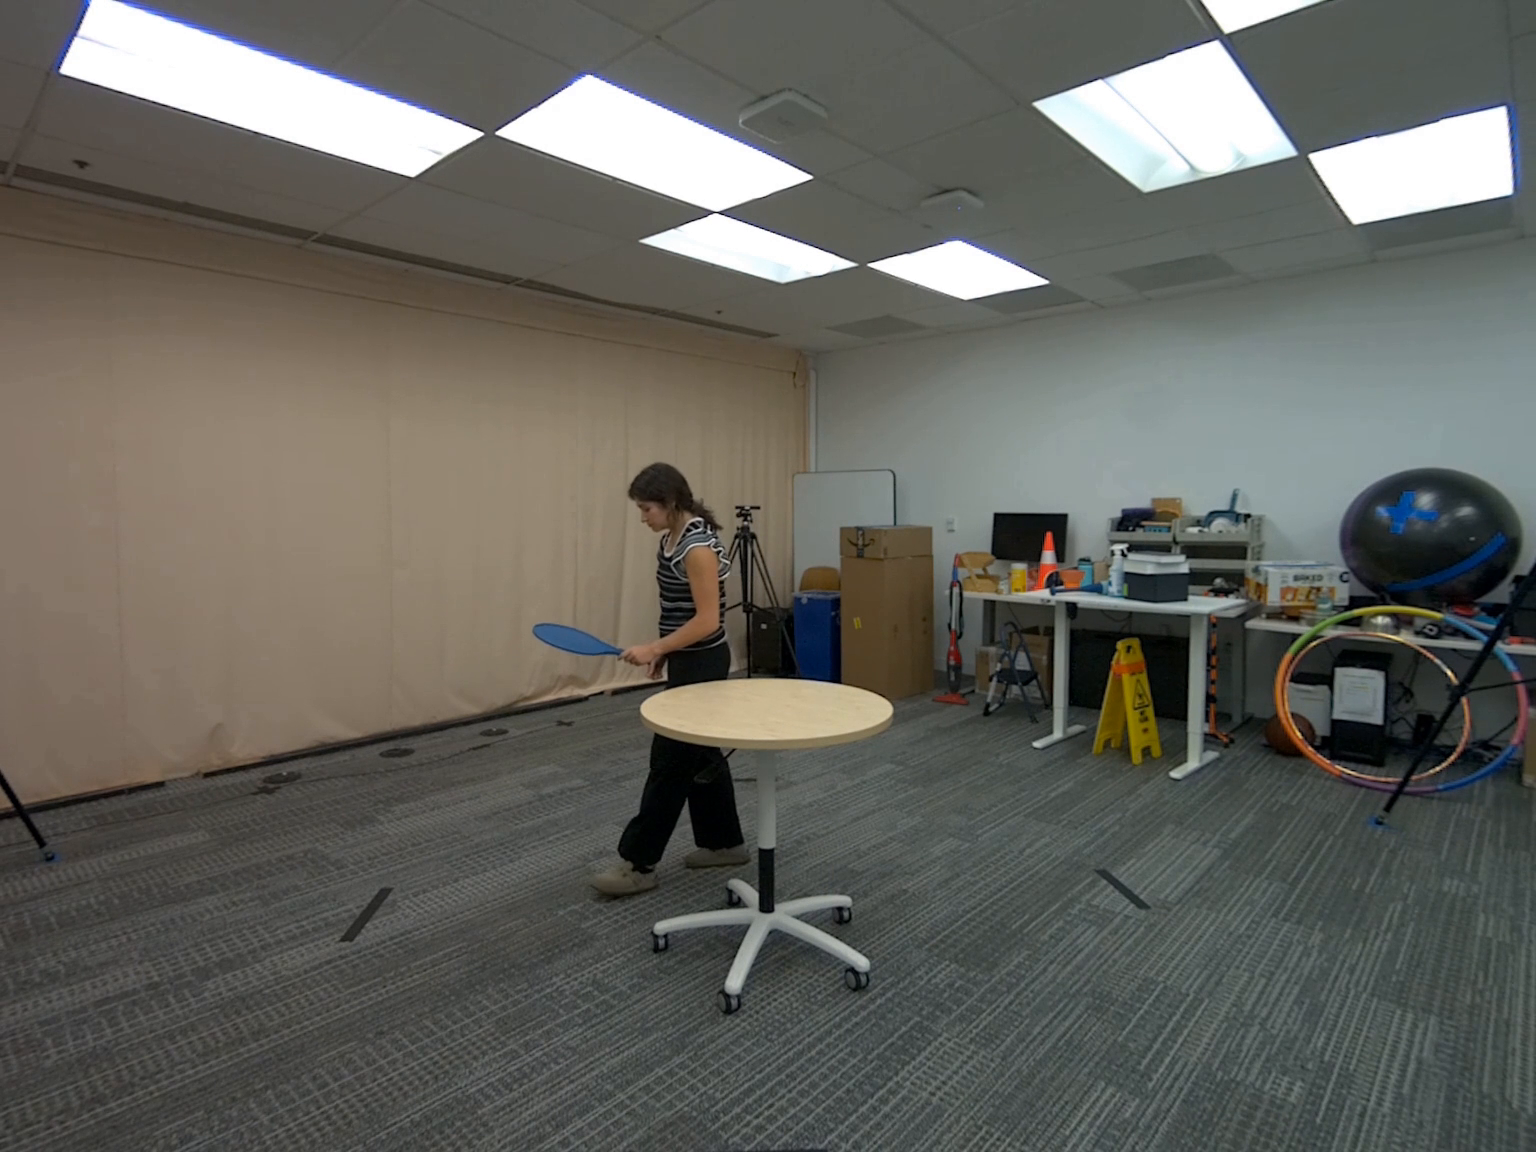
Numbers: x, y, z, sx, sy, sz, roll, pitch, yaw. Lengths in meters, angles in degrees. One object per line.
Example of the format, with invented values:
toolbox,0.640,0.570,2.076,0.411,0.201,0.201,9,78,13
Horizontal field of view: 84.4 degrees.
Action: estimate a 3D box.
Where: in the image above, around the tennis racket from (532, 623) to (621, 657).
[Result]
tennis racket,-0.616,0.252,2.972,0.423,0.032,0.219,17,14,-19
